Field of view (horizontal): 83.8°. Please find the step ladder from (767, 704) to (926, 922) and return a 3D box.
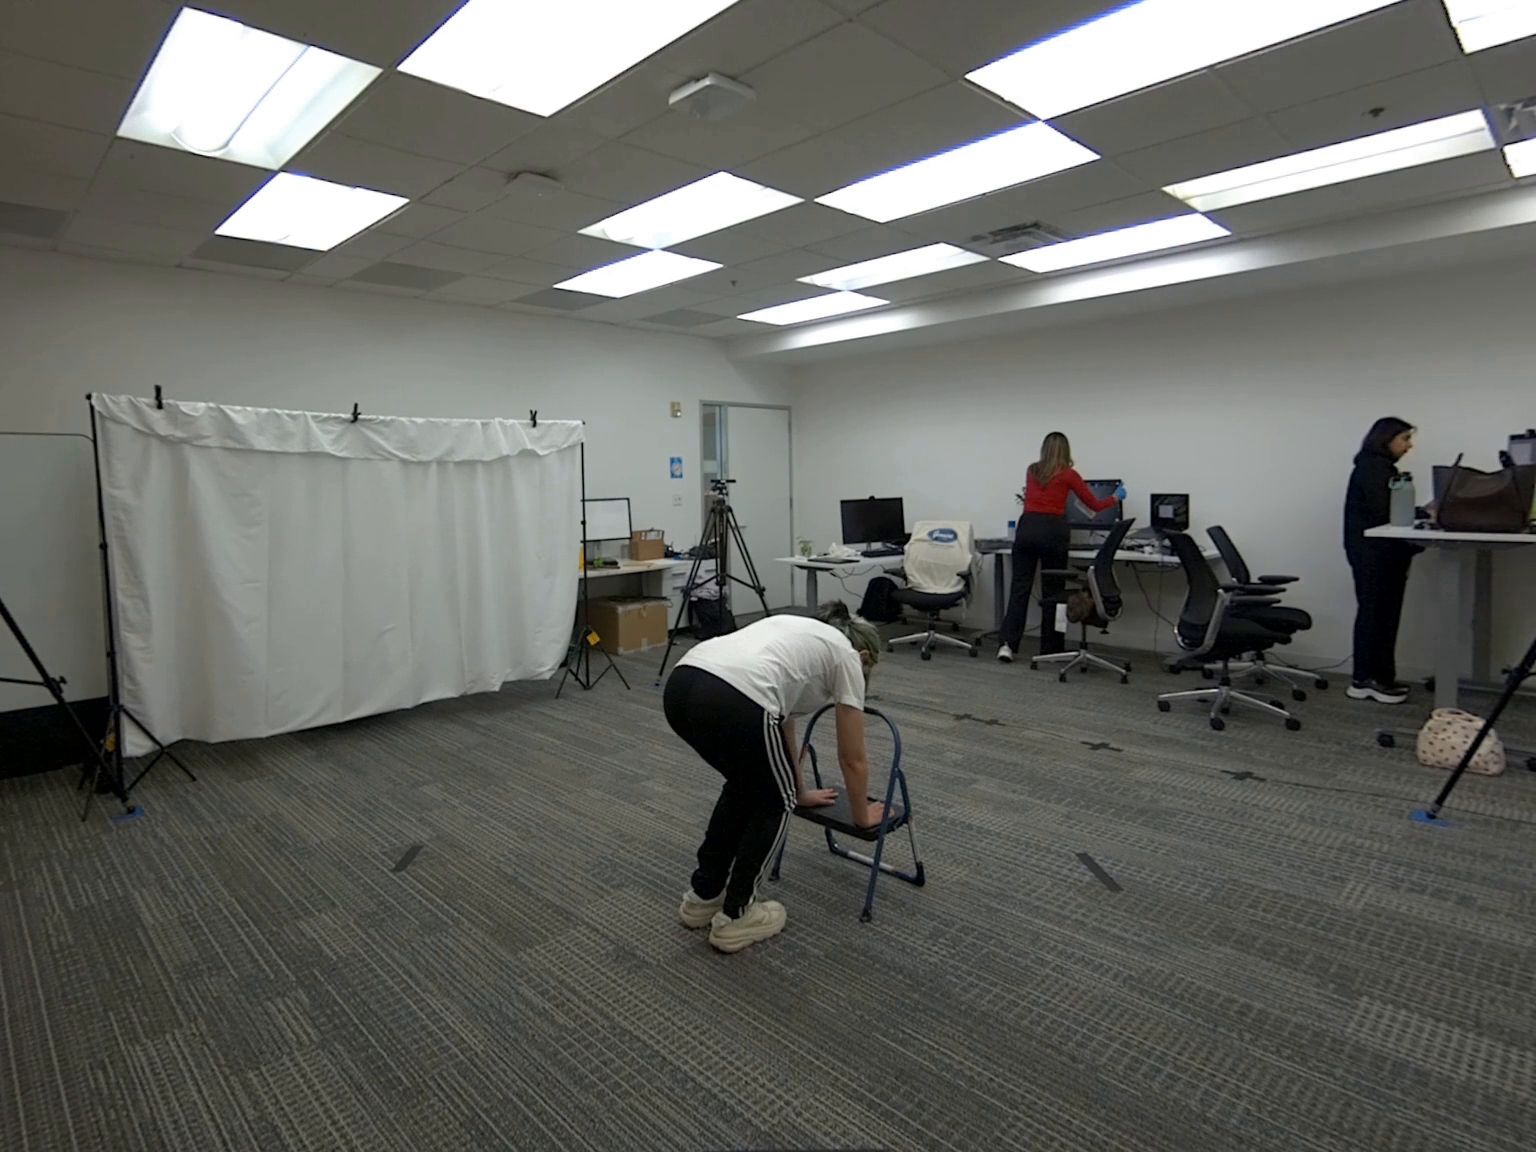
[{"bbox_3d":[0.272,0.757,2.938,0.444,0.604,0.340,3,6,44],"label":"step ladder"}]
